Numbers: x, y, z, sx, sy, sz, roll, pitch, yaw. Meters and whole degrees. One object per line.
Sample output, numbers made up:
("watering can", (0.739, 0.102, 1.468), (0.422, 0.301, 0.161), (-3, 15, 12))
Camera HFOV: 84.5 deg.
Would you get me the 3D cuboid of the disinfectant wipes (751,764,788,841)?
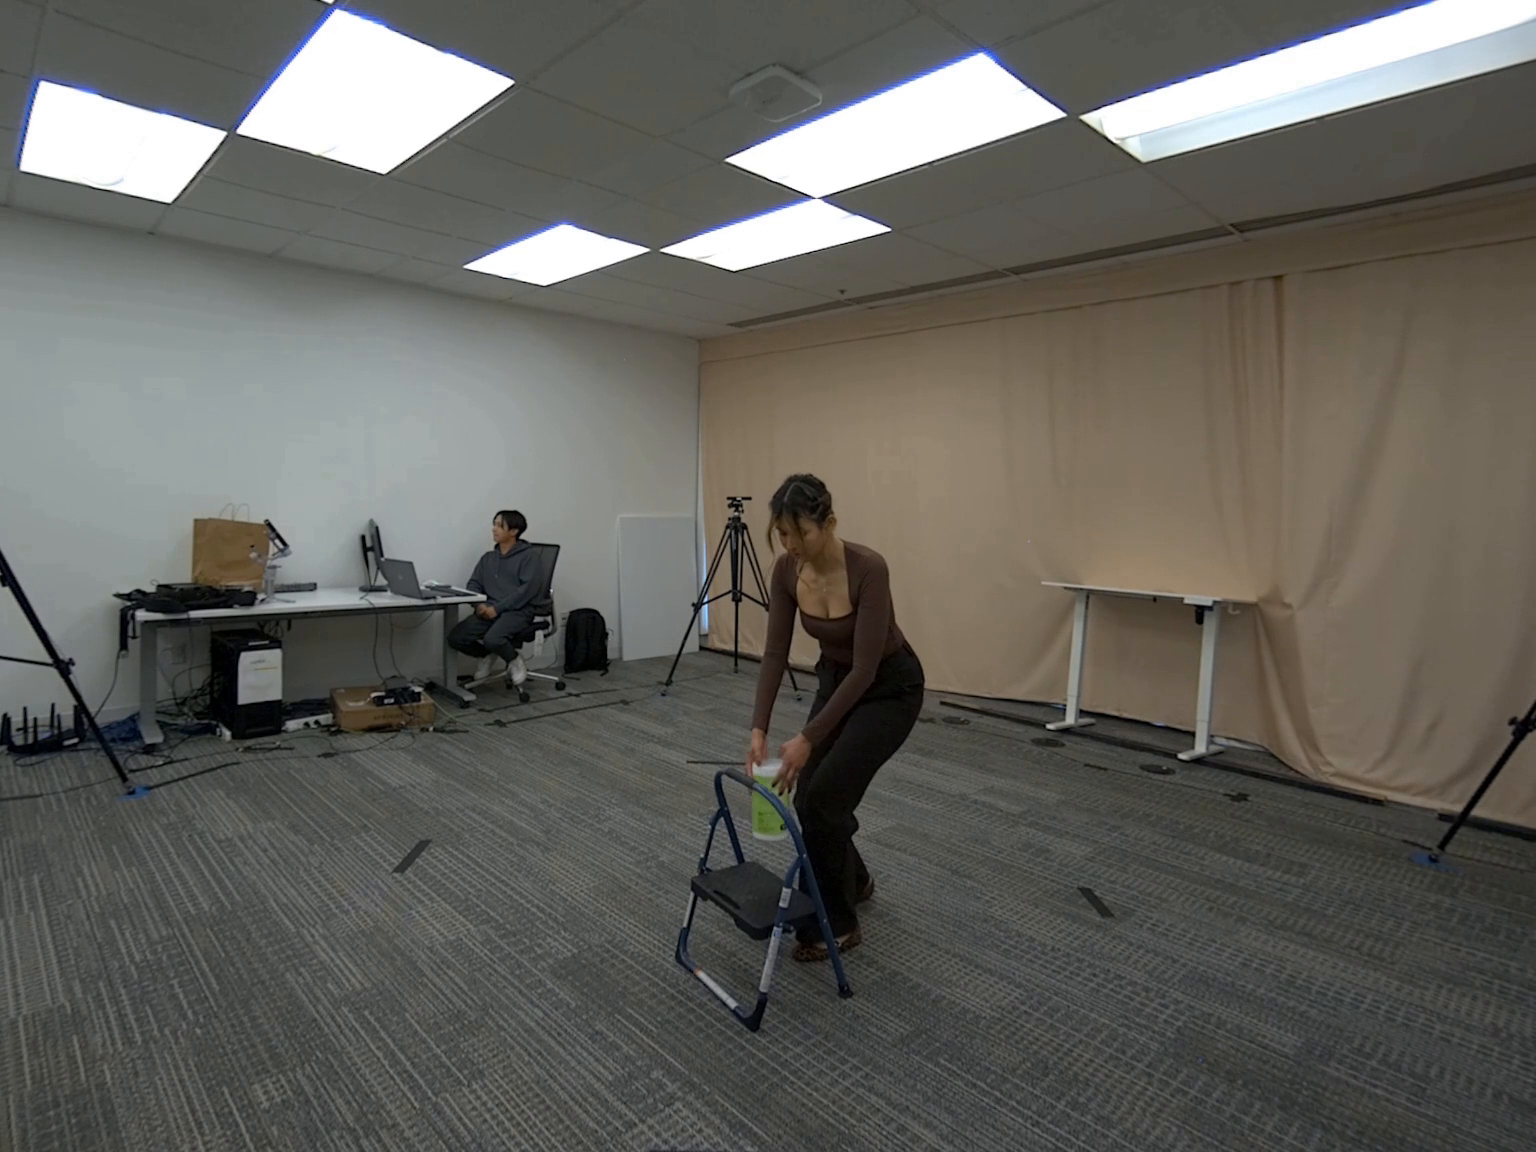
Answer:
("disinfectant wipes", (0.001, 0.661, 2.465), (0.118, 0.217, 0.118), (2, 0, -1))
